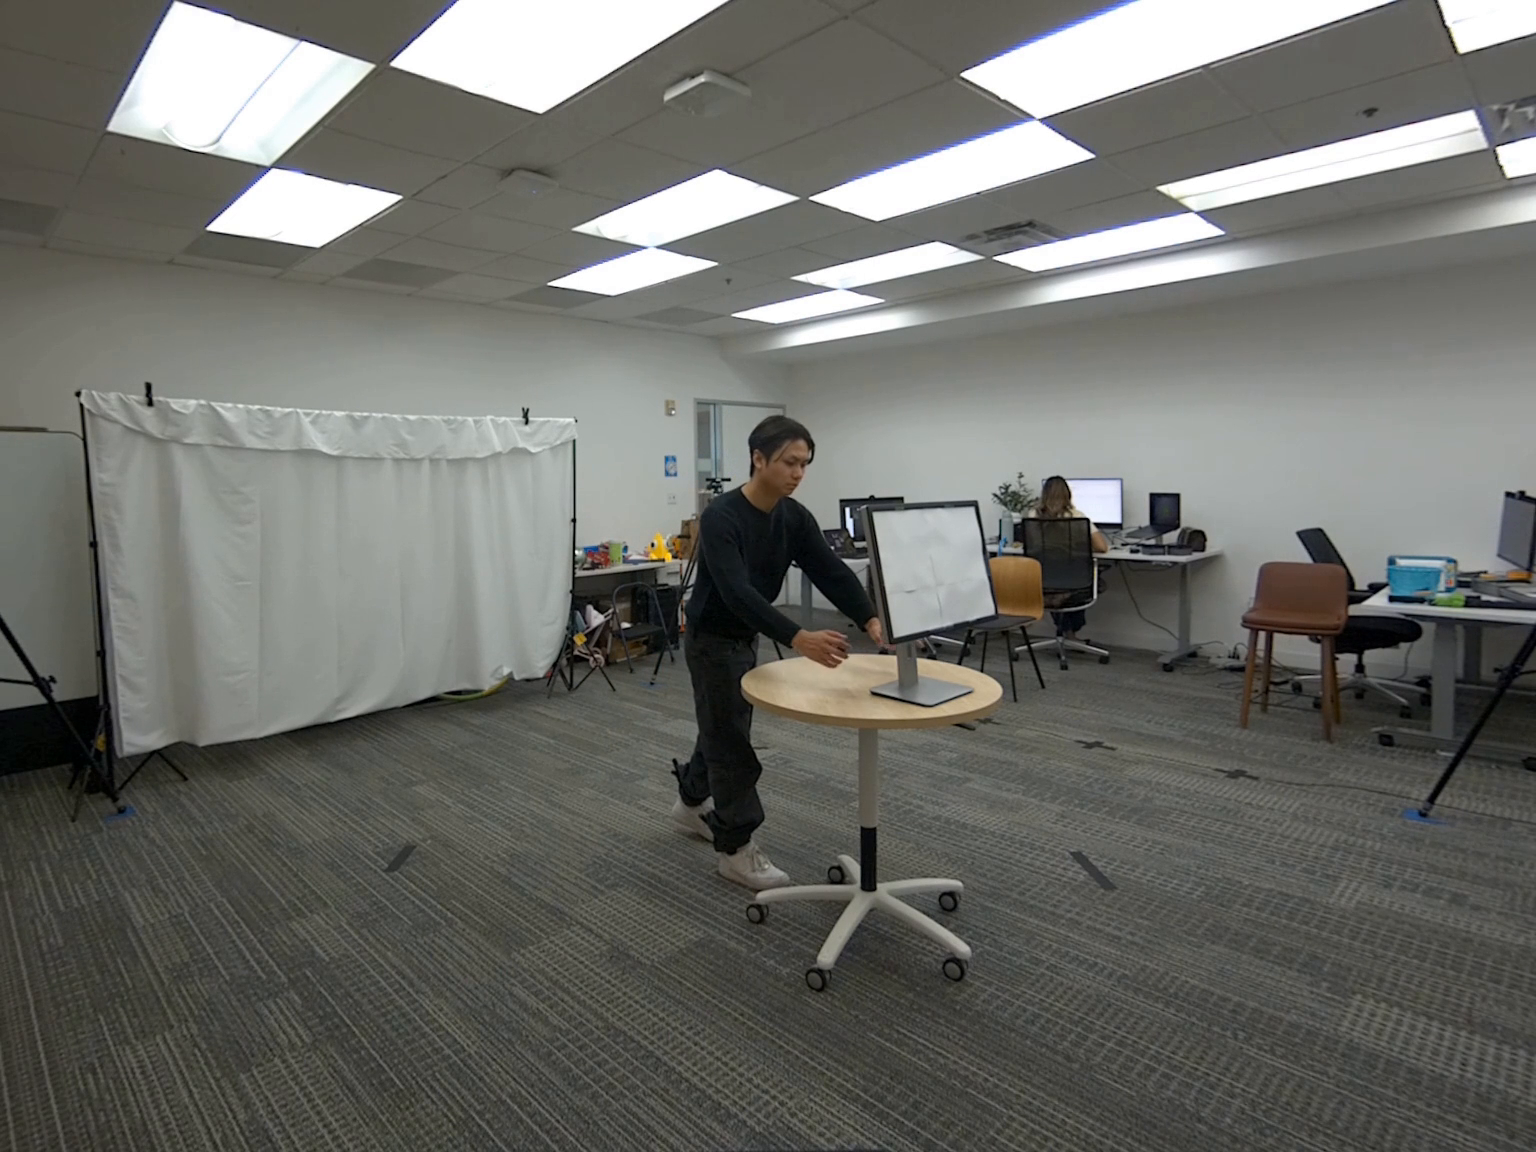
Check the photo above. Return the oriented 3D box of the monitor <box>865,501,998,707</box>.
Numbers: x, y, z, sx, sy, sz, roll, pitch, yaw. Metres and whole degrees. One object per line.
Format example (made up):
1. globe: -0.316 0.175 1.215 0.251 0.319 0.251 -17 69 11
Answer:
1. monitor: 0.444 0.069 2.415 0.193 0.520 0.525 4 7 41
